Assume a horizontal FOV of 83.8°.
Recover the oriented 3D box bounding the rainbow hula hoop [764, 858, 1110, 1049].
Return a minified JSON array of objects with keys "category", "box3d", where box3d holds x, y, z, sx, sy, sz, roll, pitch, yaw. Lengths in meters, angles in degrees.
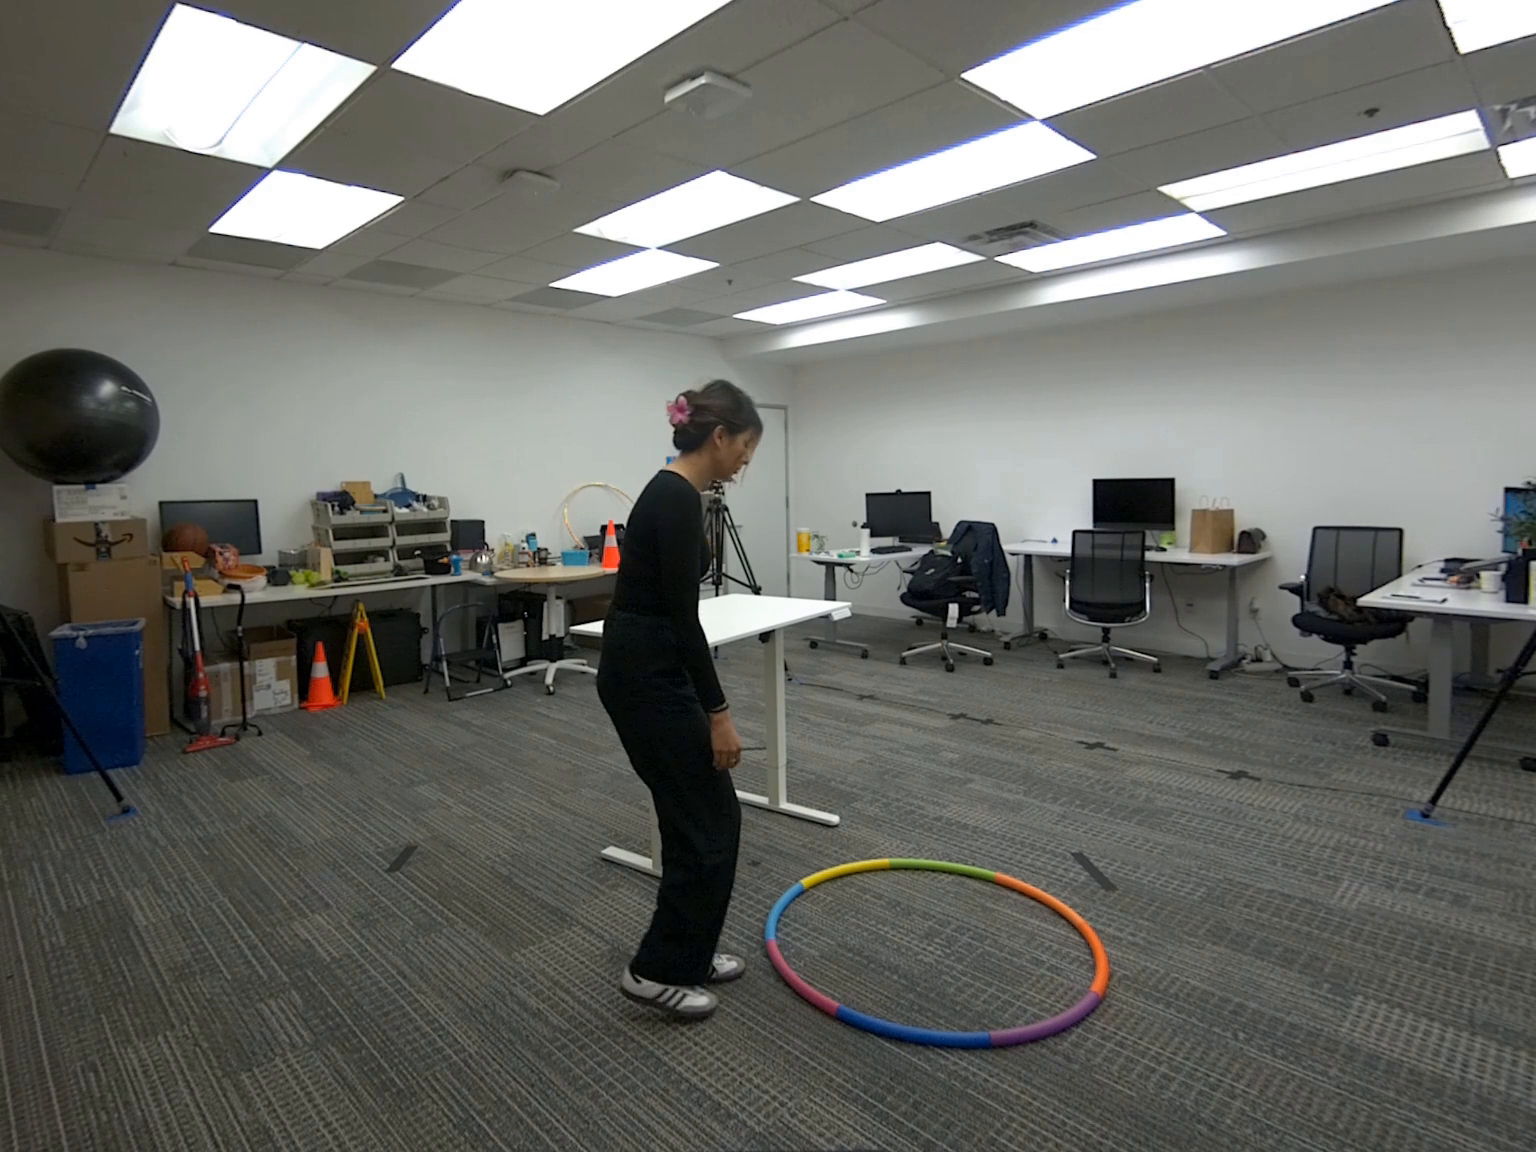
[{"category":"rainbow hula hoop","box3d":[0.488,1.069,2.571,0.978,0.035,0.984,-2,7,-2]}]
